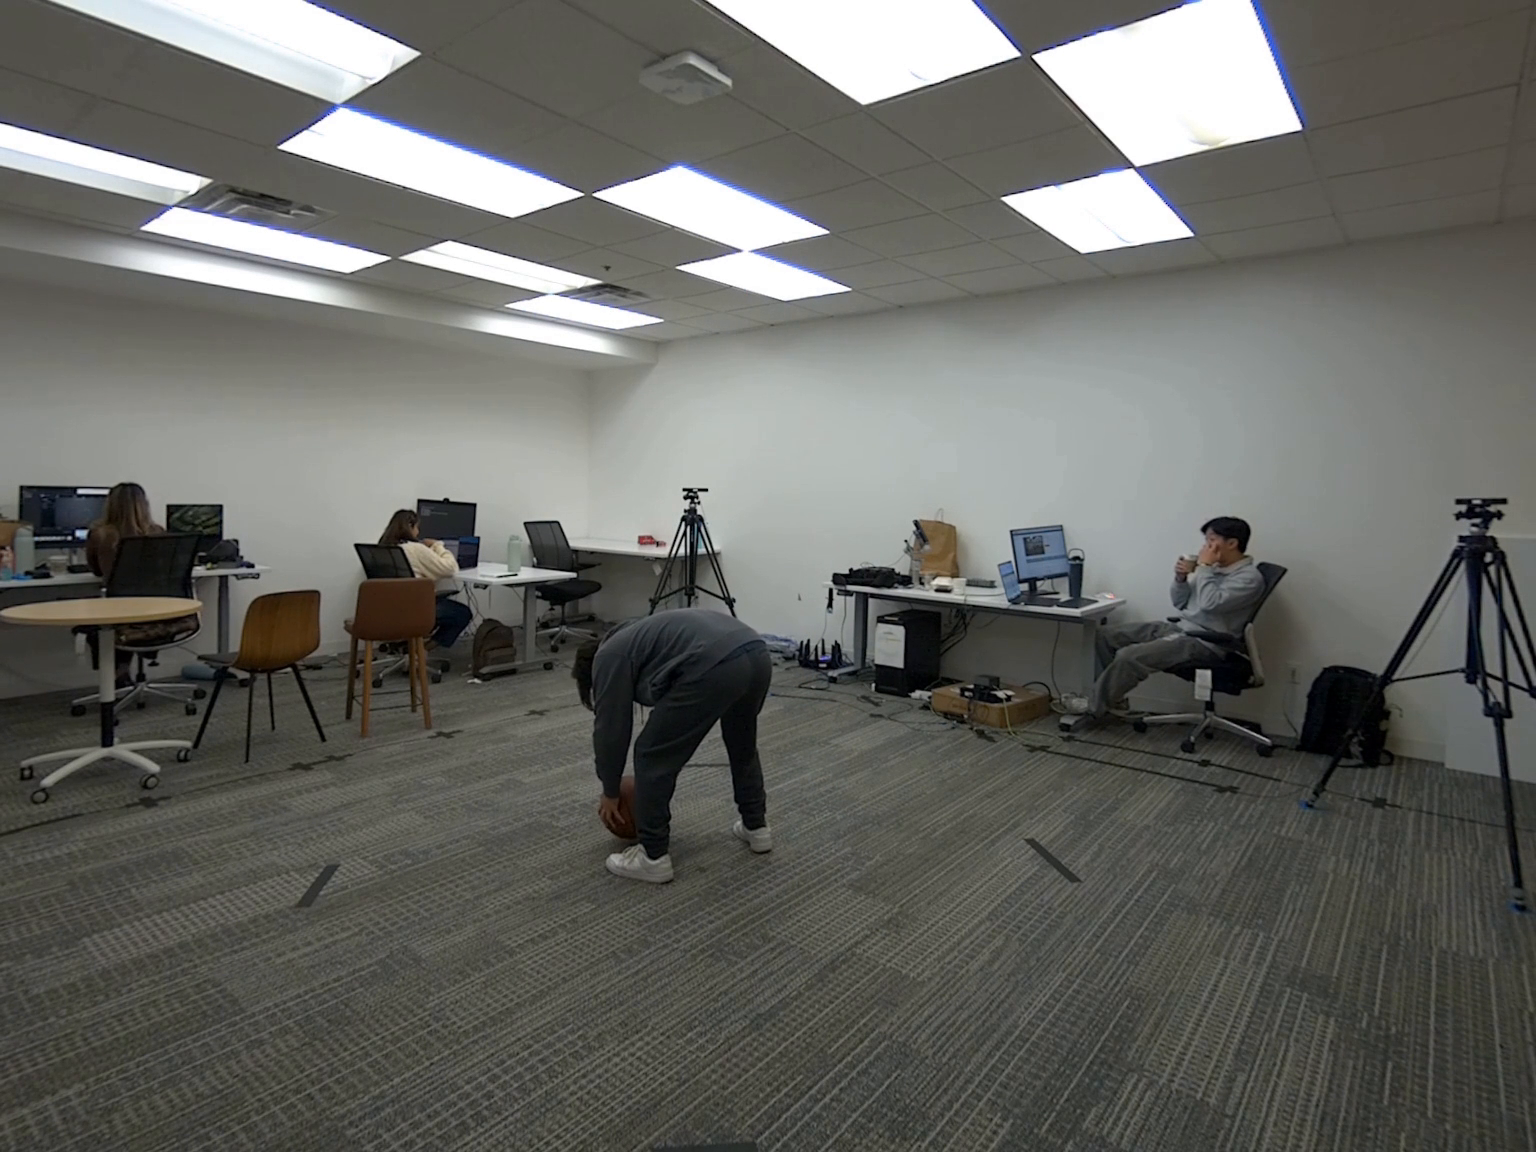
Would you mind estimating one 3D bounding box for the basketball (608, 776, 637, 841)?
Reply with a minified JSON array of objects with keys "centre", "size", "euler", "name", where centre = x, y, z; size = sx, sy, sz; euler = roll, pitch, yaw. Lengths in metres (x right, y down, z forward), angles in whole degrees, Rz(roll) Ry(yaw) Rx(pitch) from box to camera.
[{"centre":[-0.544,0.892,3.338],"size":[0.235,0.235,0.237],"euler":[1,4,-2],"name":"basketball"}]
